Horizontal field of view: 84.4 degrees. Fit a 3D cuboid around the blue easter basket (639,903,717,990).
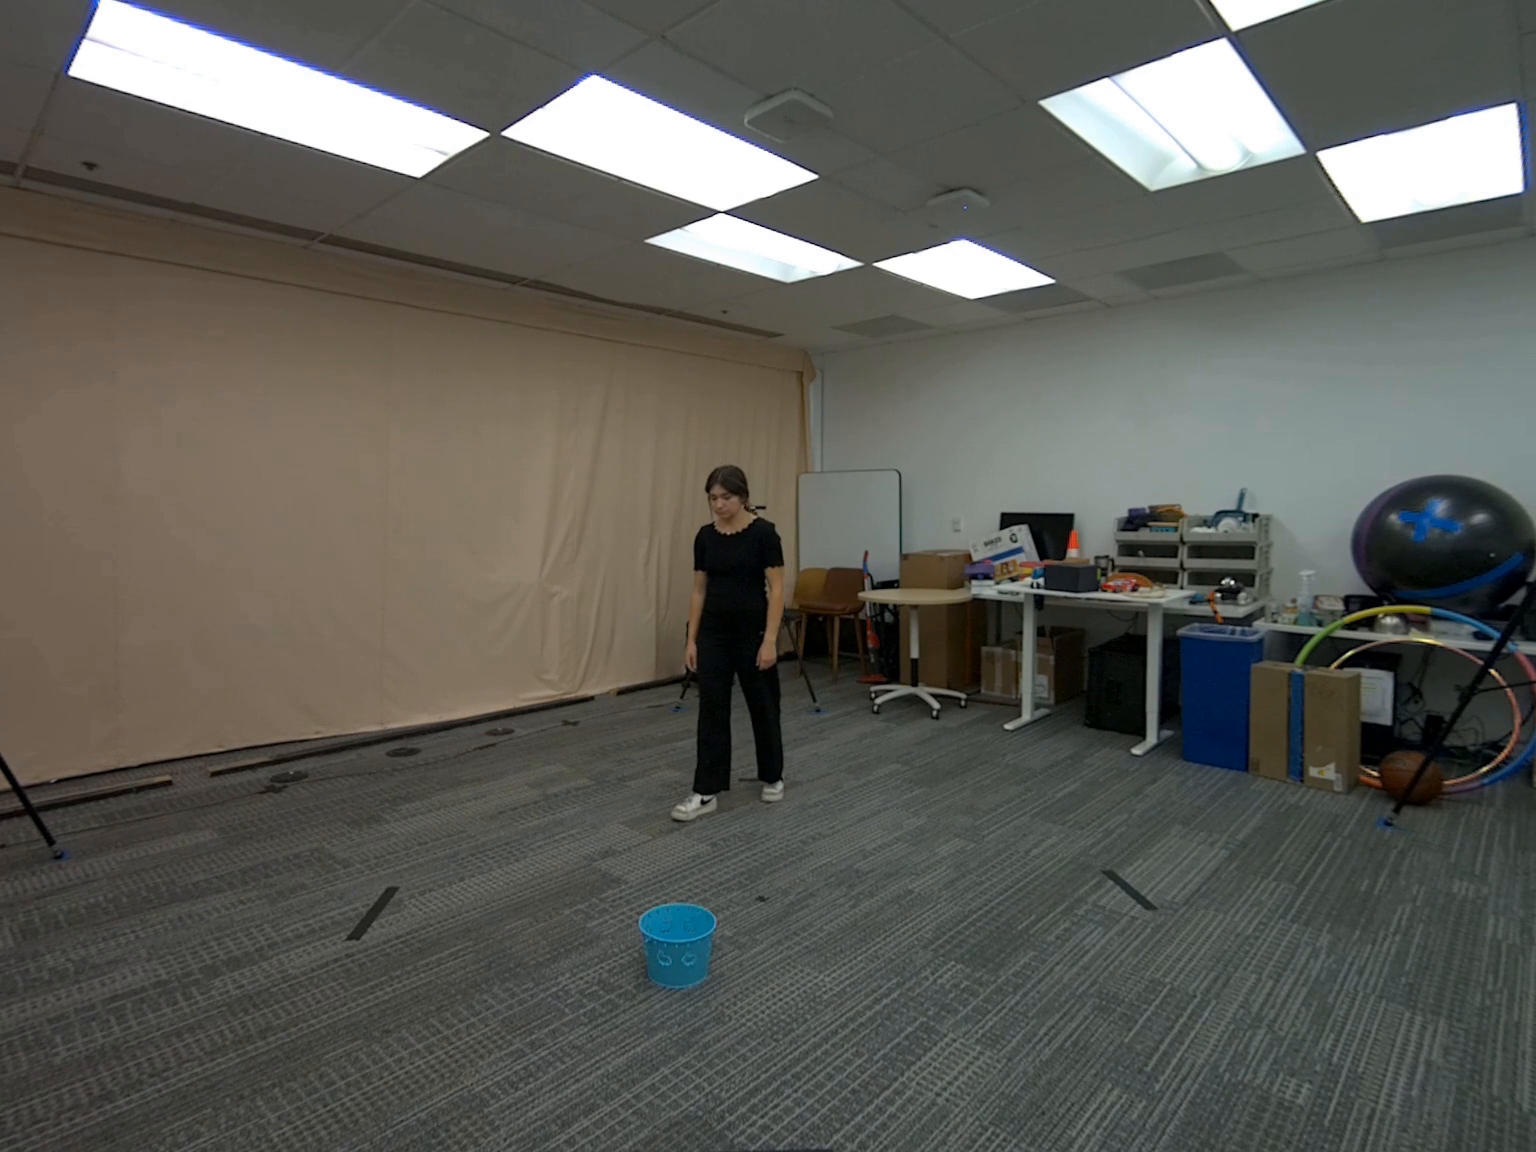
[{"bbox_3d":[-0.264,1.098,2.525,0.243,0.155,0.244,0,5,-2],"label":"blue easter basket"}]
